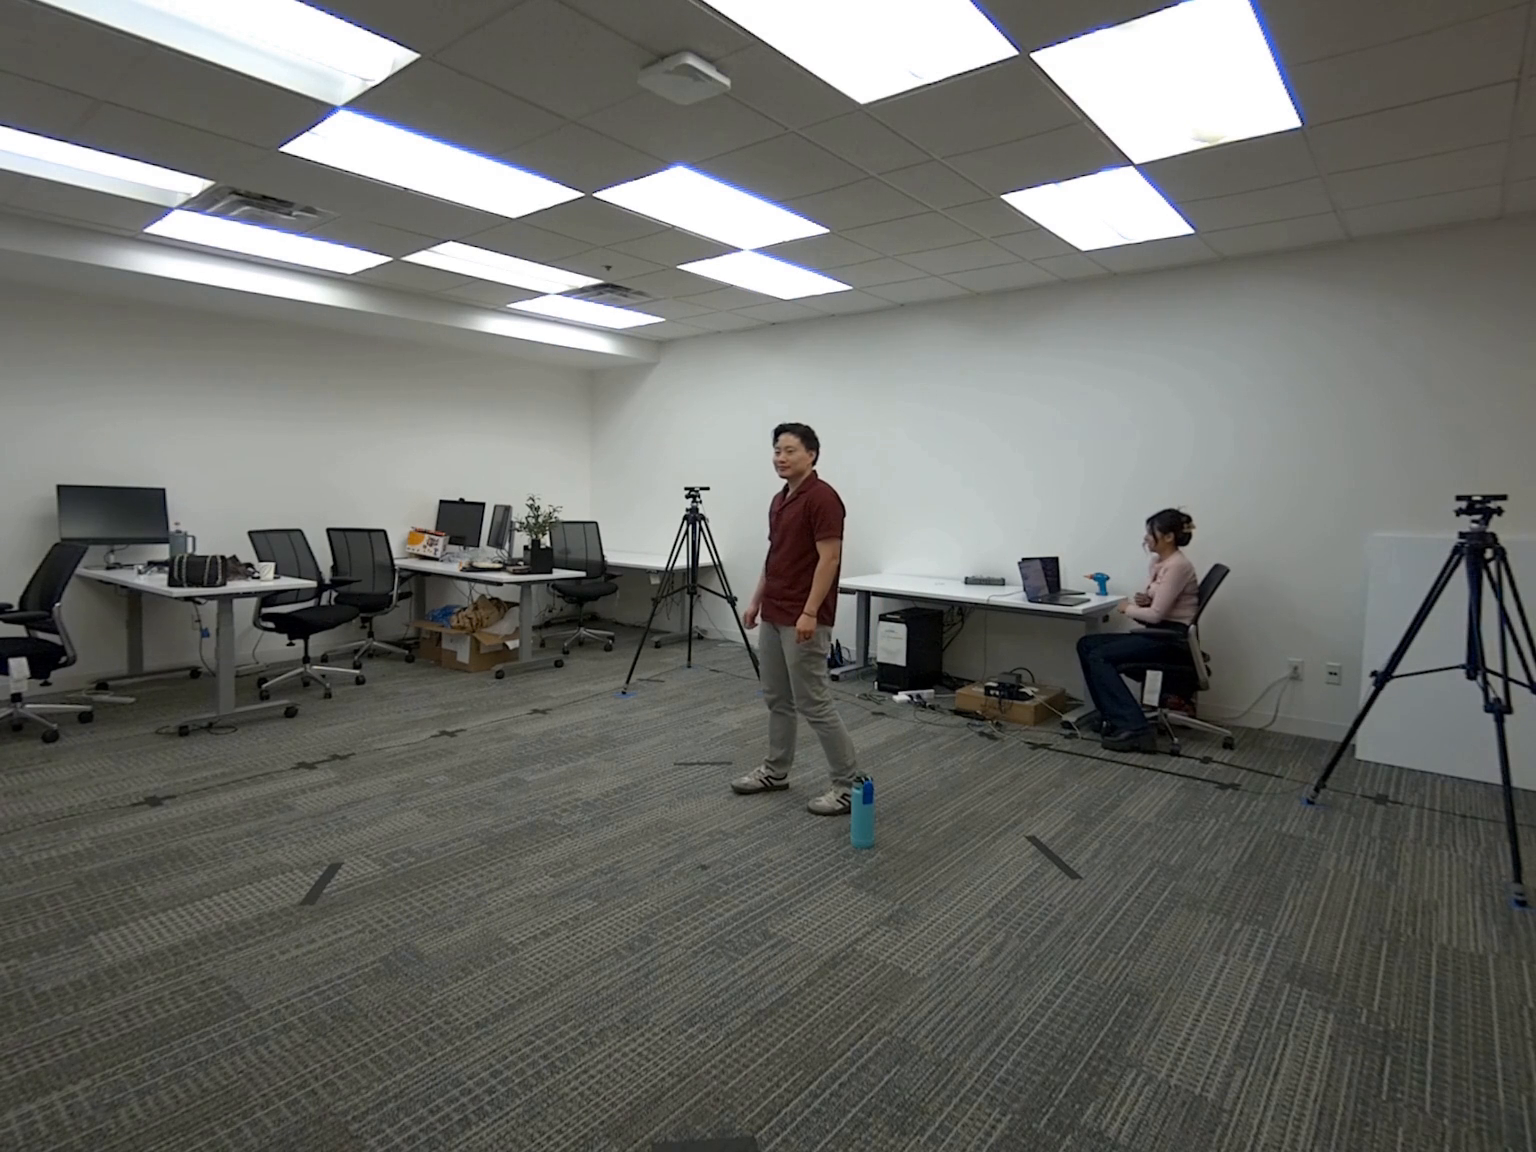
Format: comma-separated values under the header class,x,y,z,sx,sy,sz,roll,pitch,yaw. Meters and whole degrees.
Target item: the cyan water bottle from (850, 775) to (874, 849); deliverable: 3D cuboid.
class,x,y,z,sx,sy,sz,roll,pitch,yaw
cyan water bottle,0.372,0.914,3.351,0.092,0.282,0.093,1,3,-2
